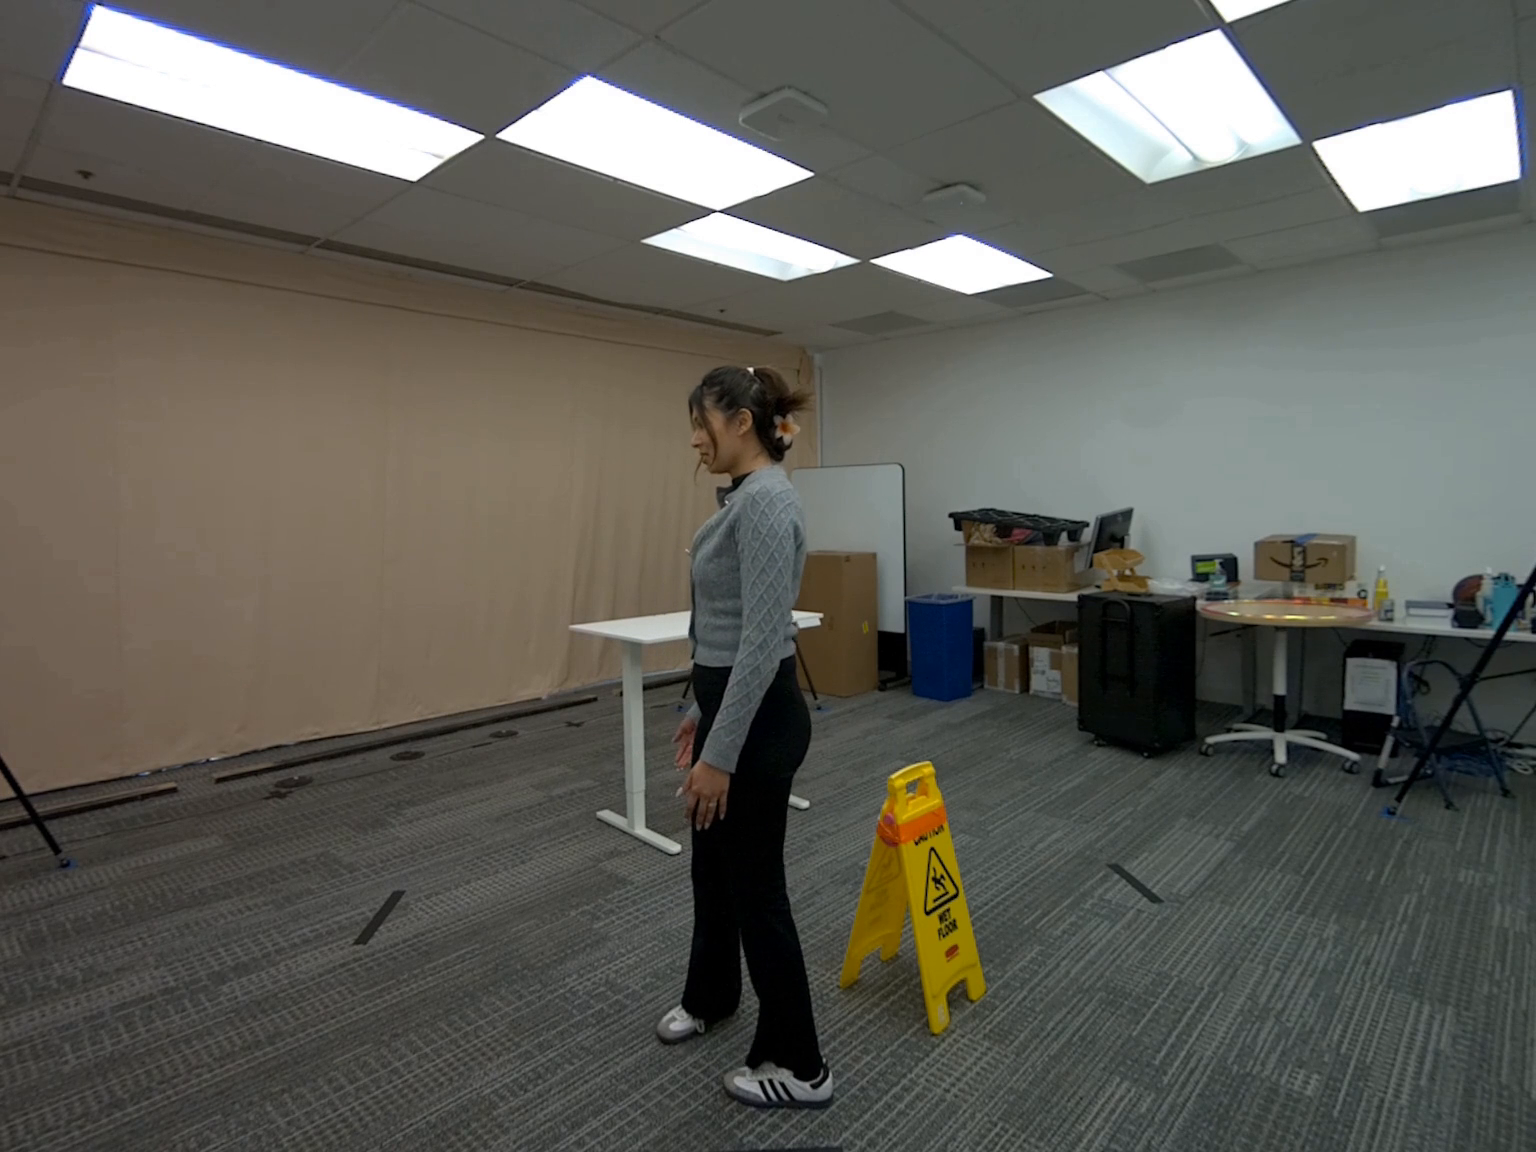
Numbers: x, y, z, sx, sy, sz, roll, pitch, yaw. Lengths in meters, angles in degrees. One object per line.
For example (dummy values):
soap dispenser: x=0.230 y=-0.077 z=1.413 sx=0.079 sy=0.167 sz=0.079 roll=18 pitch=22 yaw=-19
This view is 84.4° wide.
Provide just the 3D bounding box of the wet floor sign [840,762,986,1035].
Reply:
wet floor sign: x=0.411 y=0.865 z=2.384 sx=0.299 sy=0.645 sz=0.273 roll=2 pitch=4 yaw=44
